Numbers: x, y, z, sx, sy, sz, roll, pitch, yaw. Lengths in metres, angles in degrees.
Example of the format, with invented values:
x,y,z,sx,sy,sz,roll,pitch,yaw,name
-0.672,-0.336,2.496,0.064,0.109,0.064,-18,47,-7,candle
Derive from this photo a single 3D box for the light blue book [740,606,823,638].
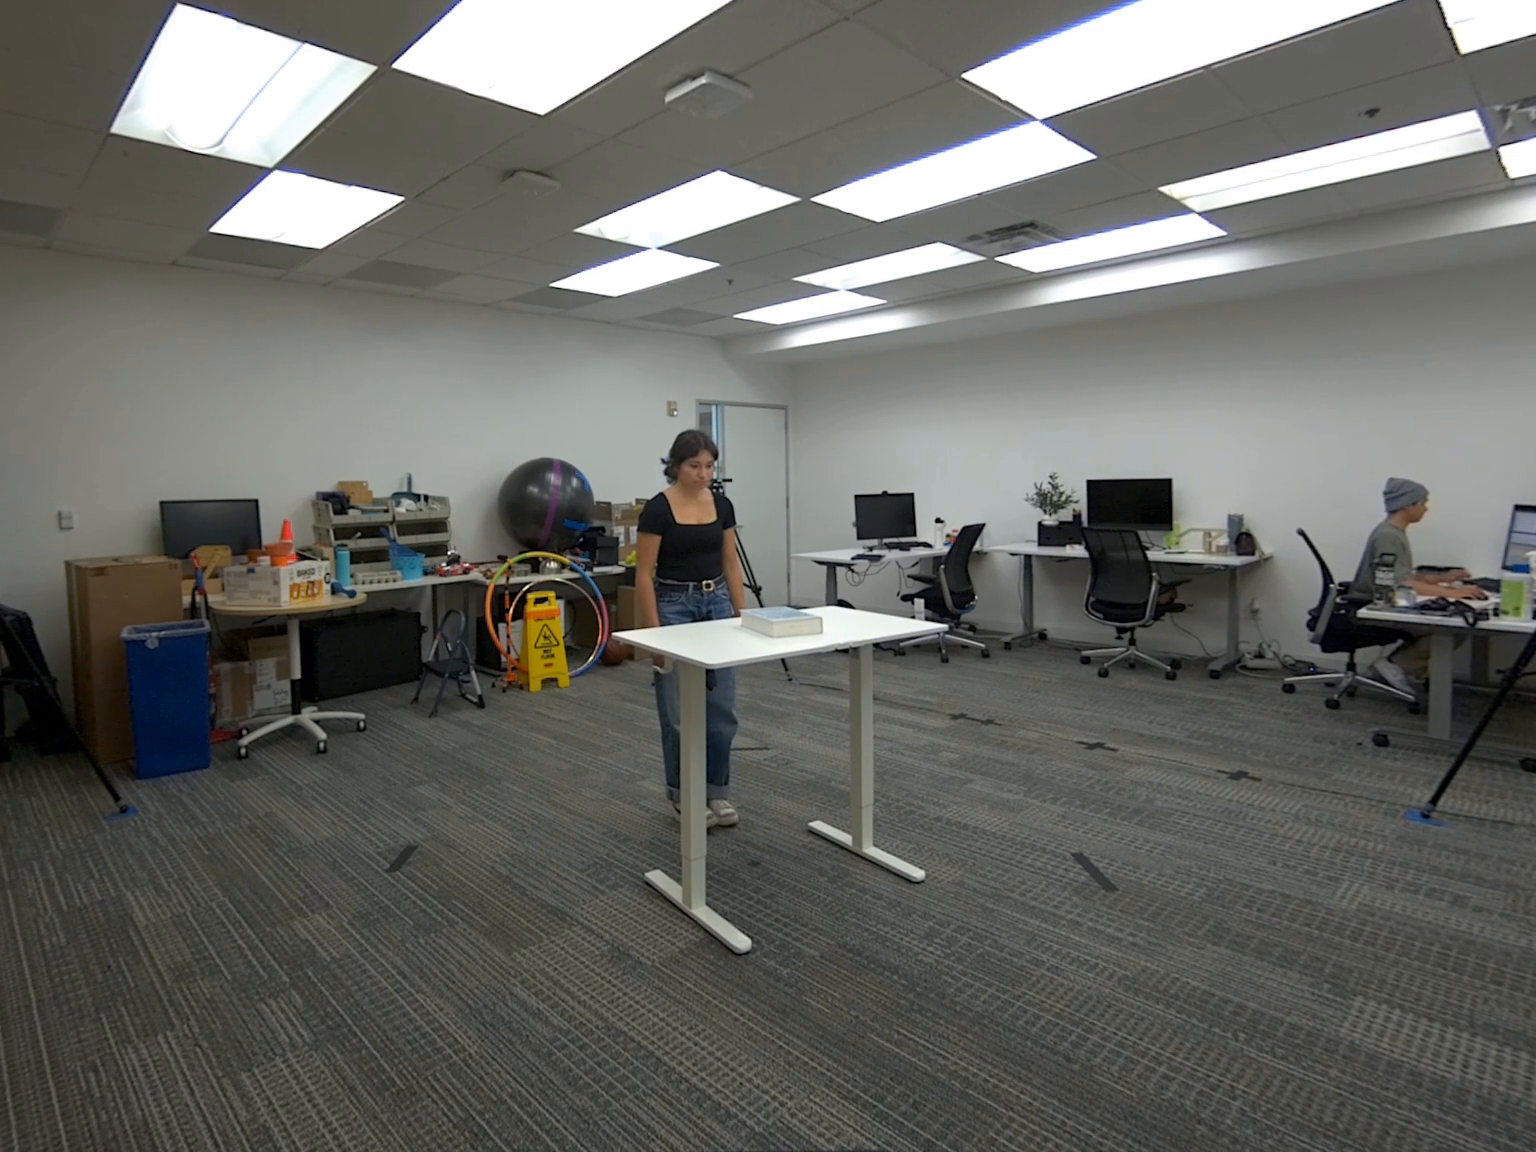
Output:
x,y,z,sx,sy,sz,roll,pitch,yaw,name
0.041,0.157,2.895,0.187,0.059,0.267,-3,7,-25,light blue book
